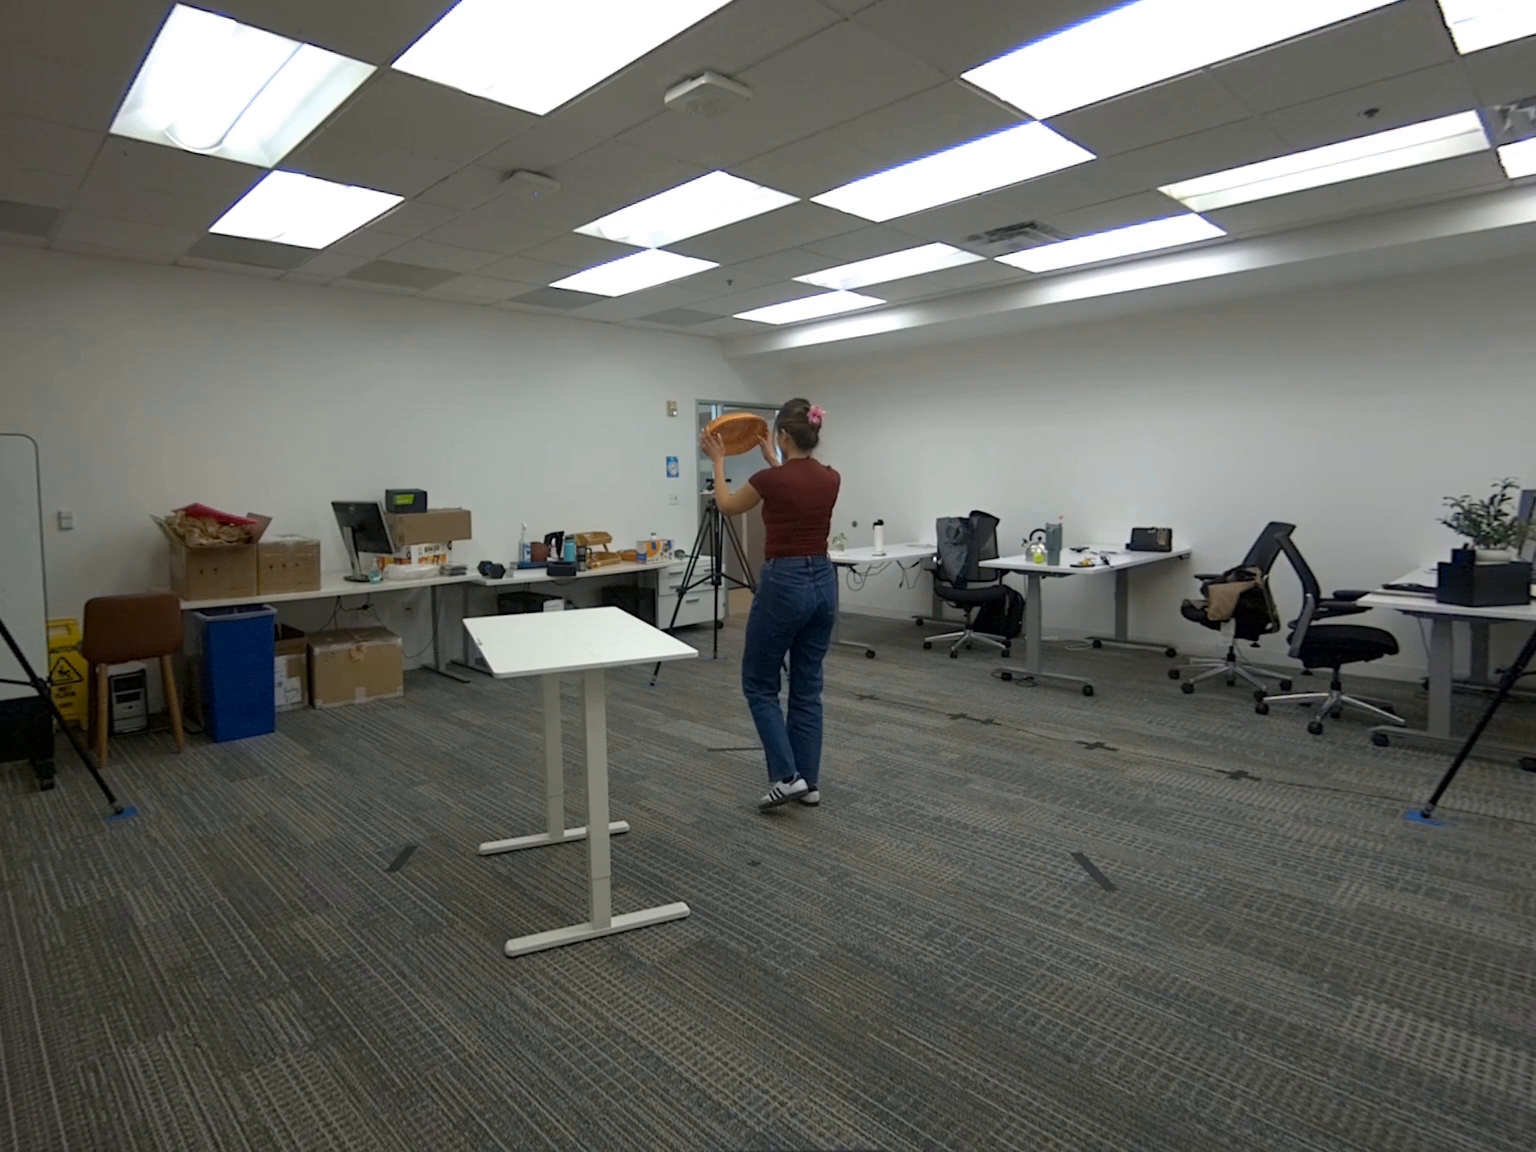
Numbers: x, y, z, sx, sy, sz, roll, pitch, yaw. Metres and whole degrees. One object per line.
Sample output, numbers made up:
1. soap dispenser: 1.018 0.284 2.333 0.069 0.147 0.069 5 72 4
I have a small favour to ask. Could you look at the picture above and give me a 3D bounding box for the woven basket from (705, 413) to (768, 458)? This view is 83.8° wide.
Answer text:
1. woven basket: -0.169 -0.659 3.929 0.342 0.076 0.250 -10 -33 -36
